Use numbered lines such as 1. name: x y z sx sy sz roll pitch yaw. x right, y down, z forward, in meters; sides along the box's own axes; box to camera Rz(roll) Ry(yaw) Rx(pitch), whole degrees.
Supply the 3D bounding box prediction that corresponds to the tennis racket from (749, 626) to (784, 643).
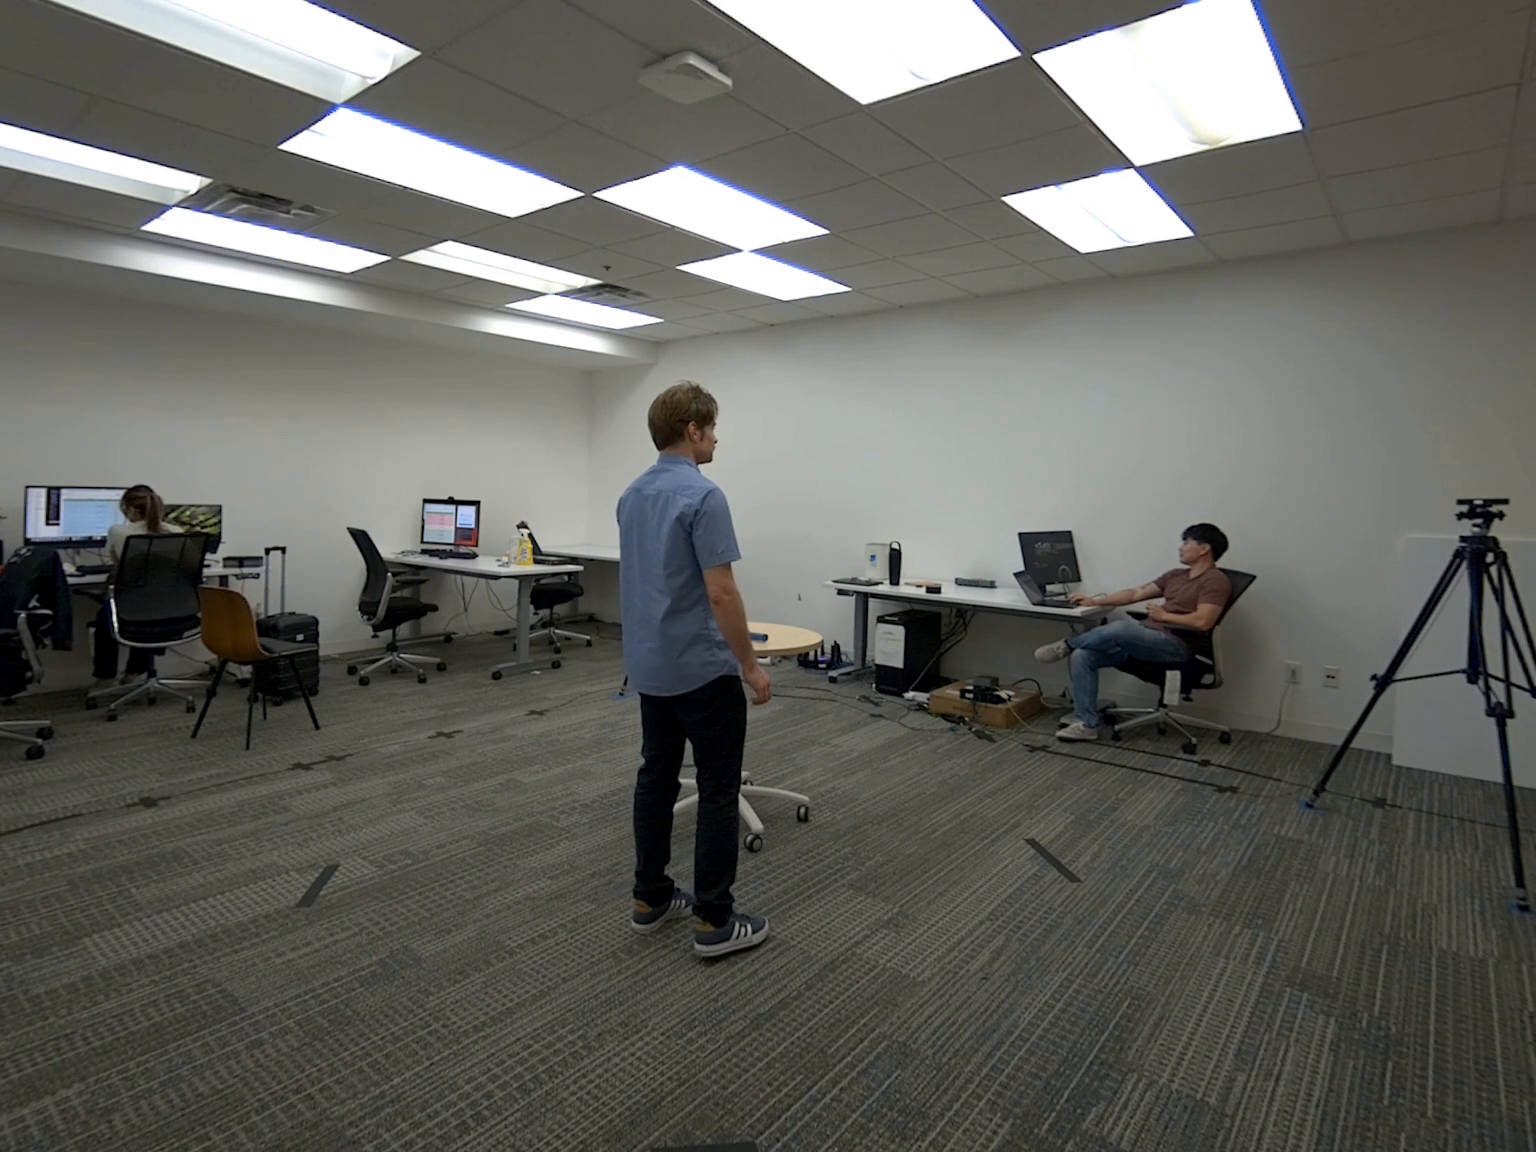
1. tennis racket: -0.166 0.233 3.543 0.207 0.032 0.447 -2 4 -41
